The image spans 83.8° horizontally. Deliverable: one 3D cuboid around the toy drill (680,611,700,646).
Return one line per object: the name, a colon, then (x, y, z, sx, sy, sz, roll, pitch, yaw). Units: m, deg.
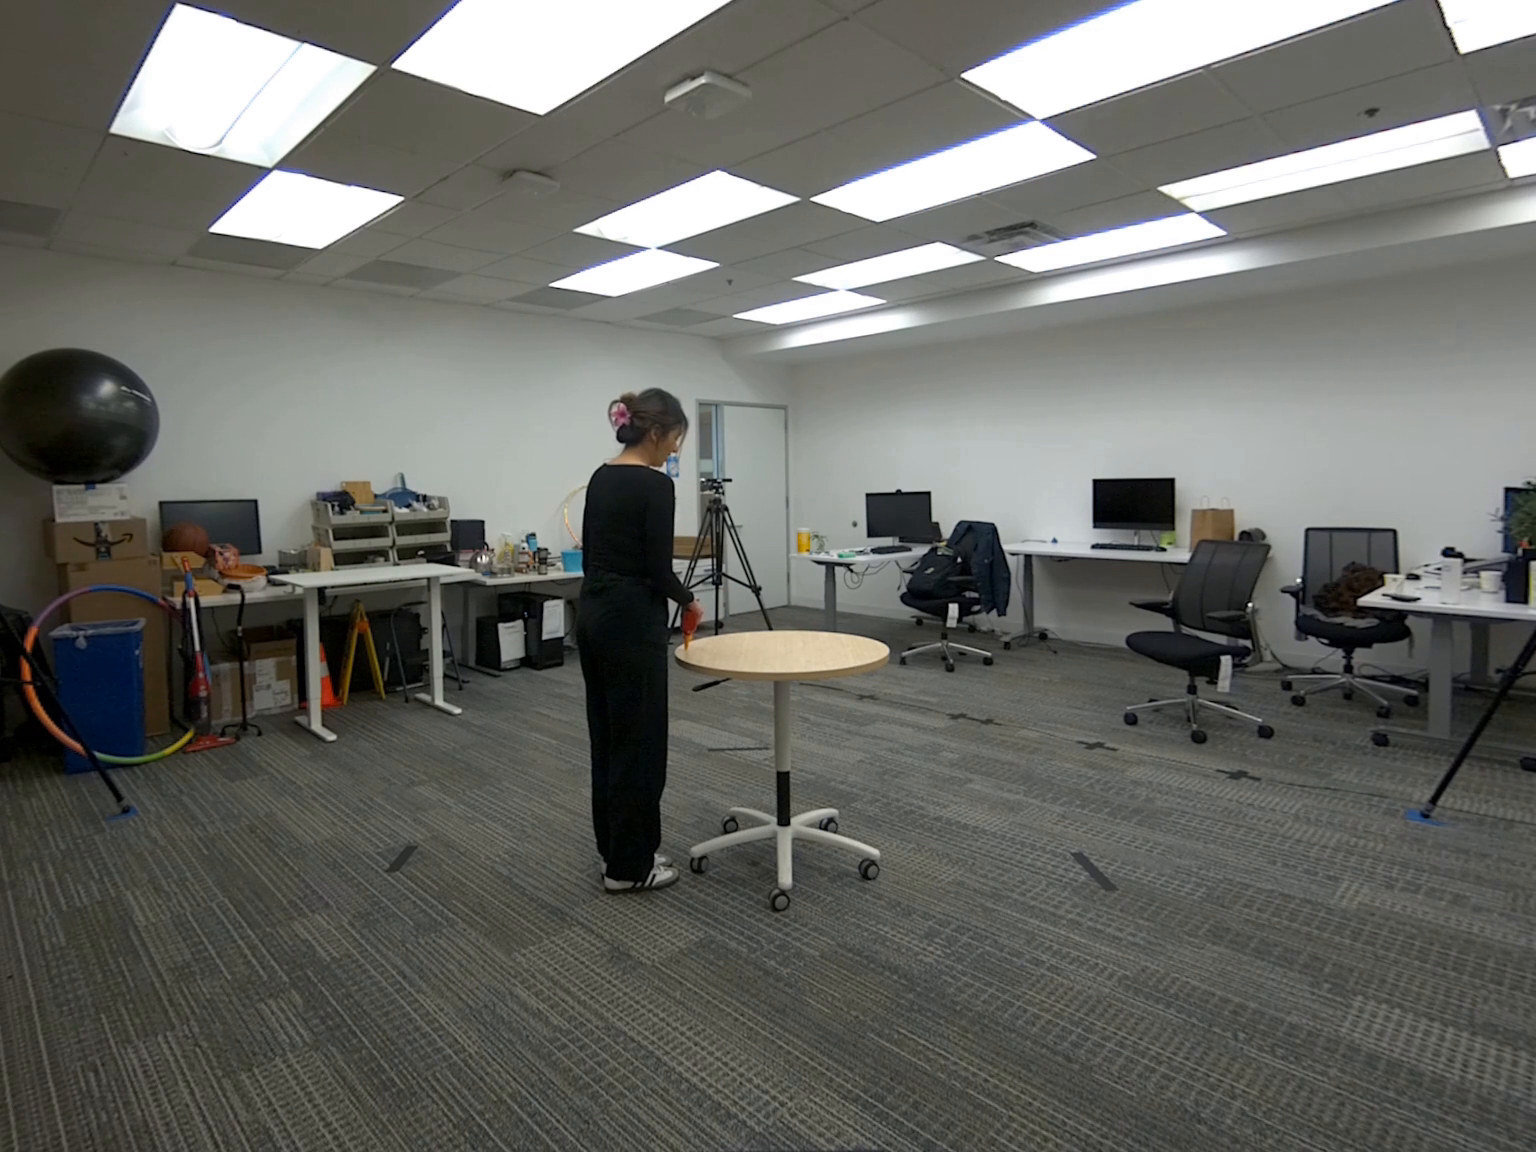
toy drill: (-0.287, 0.194, 3.039, 0.061, 0.169, 0.147, 3, 8, -6)
